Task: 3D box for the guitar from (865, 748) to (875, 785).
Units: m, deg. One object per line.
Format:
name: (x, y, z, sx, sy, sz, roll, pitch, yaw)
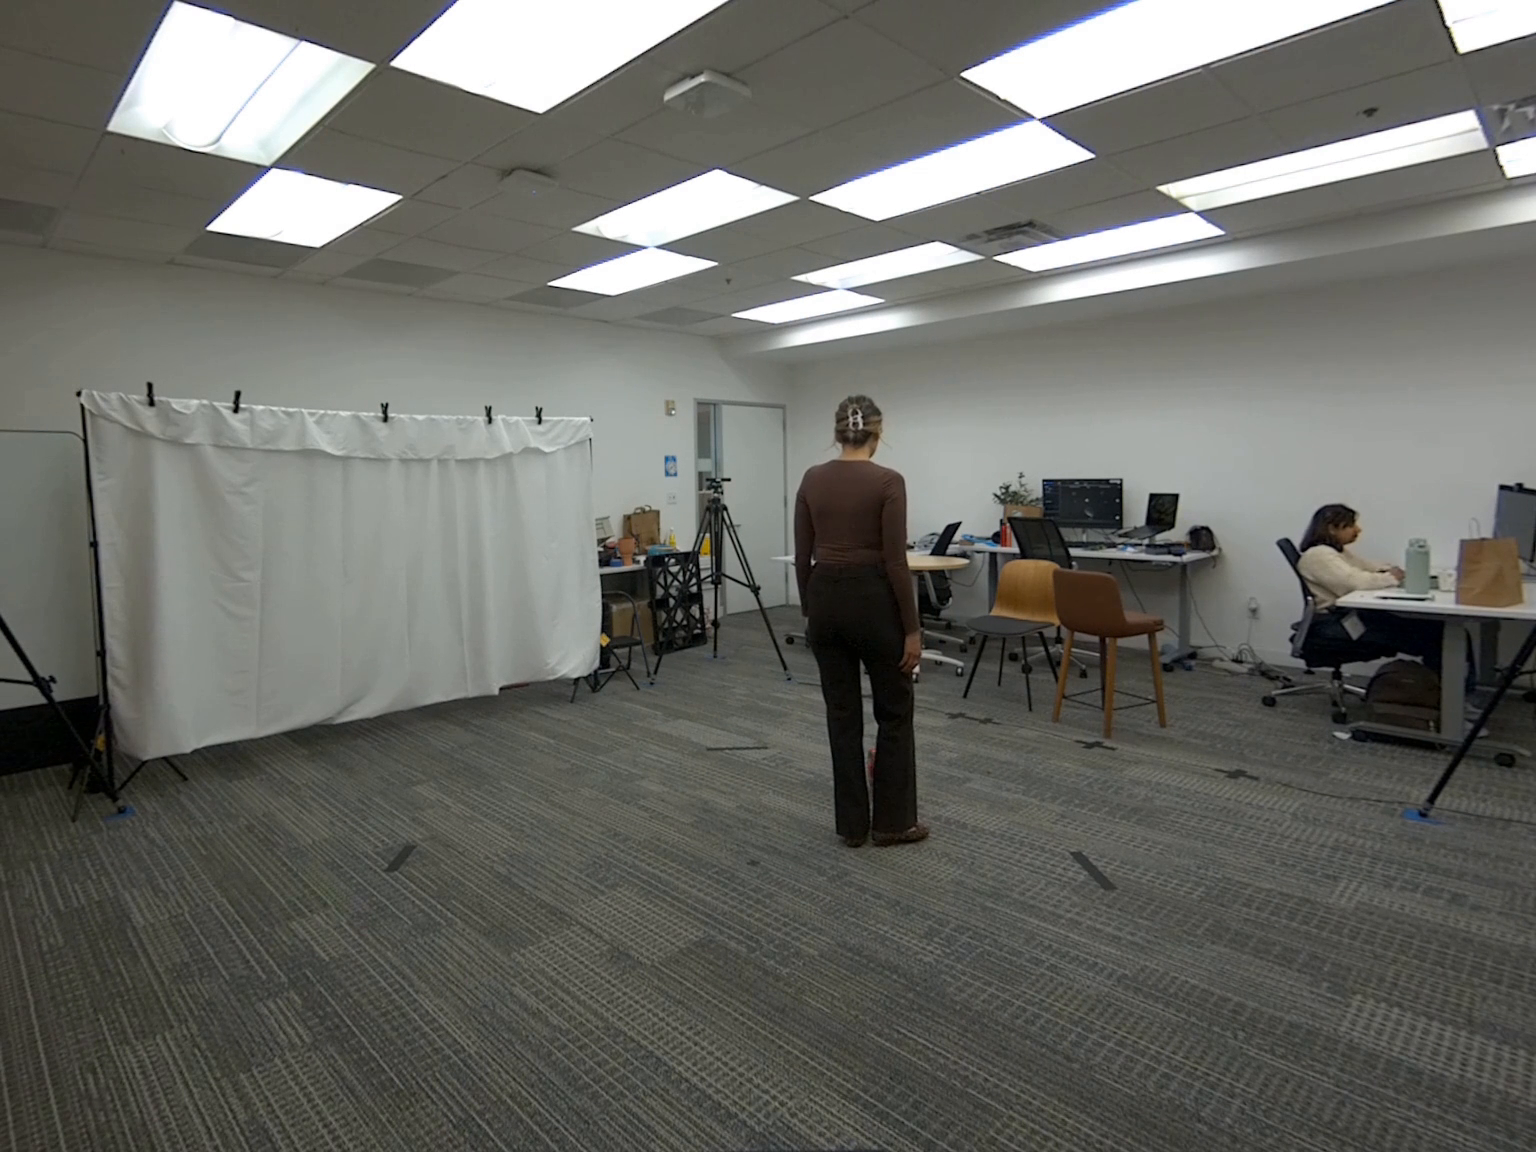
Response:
guitar: (0.535, 0.934, 3.618, 0.070, 0.189, 0.512, -3, 24, -11)
